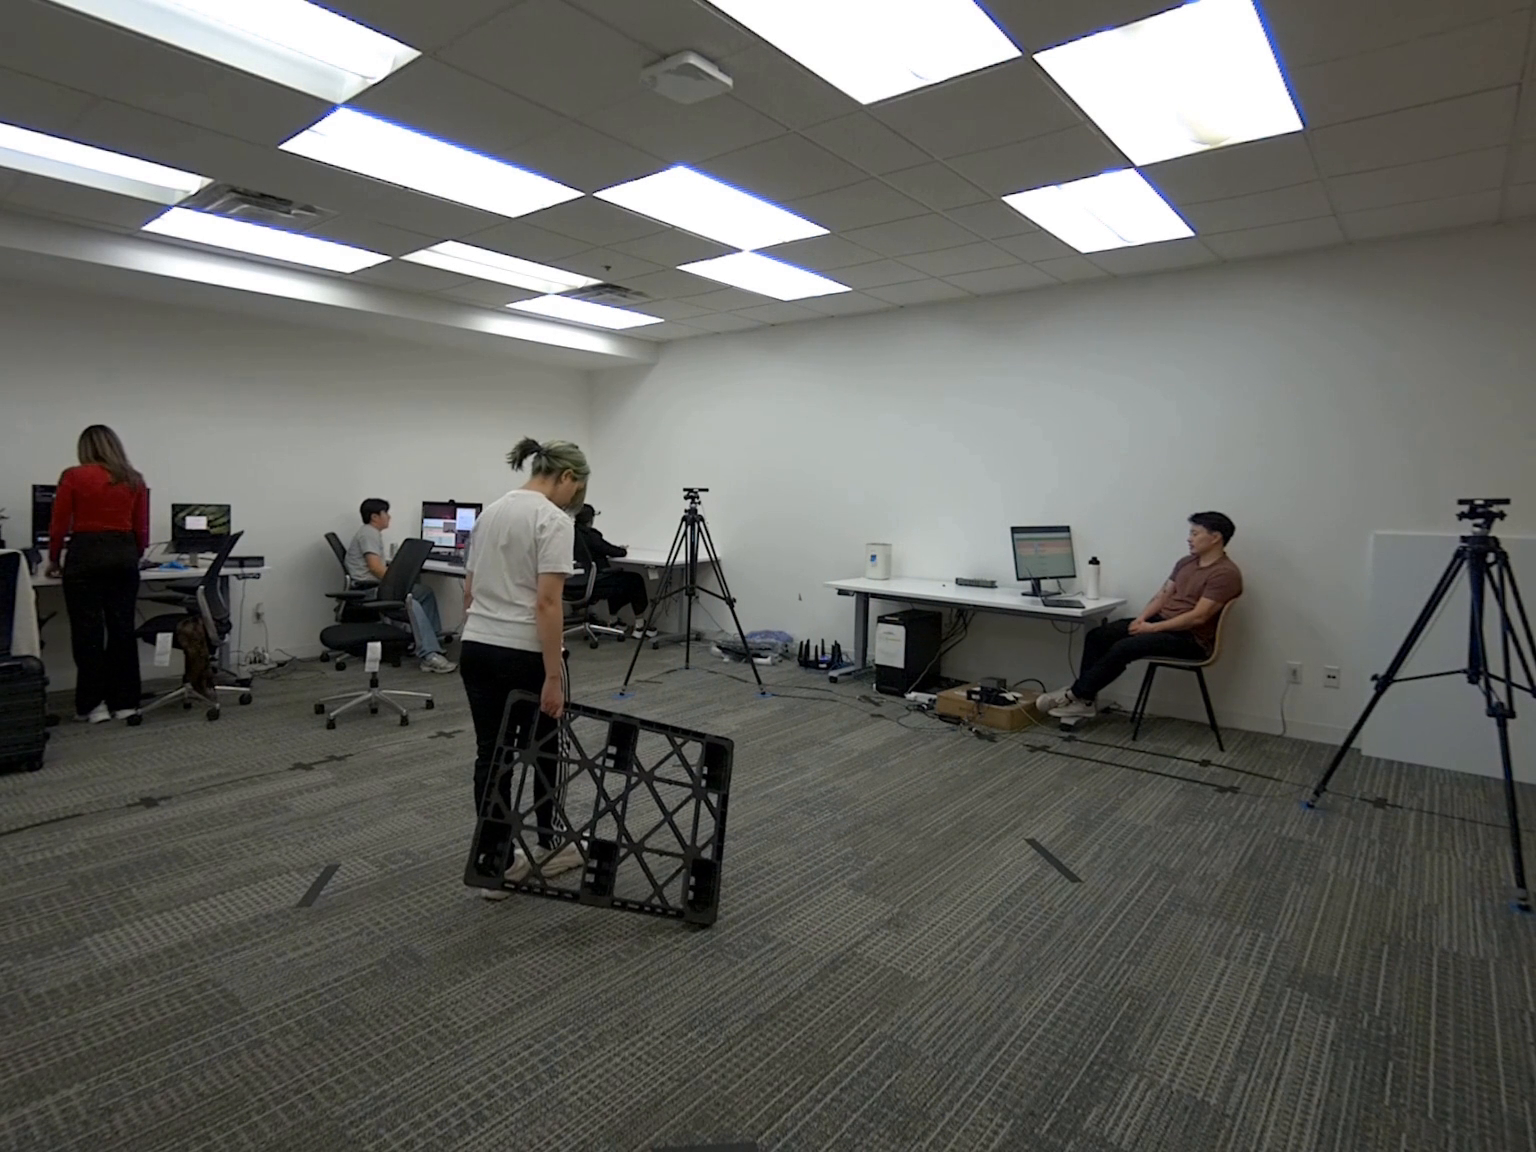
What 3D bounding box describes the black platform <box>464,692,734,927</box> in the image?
[{"bbox_3d":[-0.527,0.757,2.771,0.791,0.617,0.143,15,-29,-15],"label":"black platform"}]
